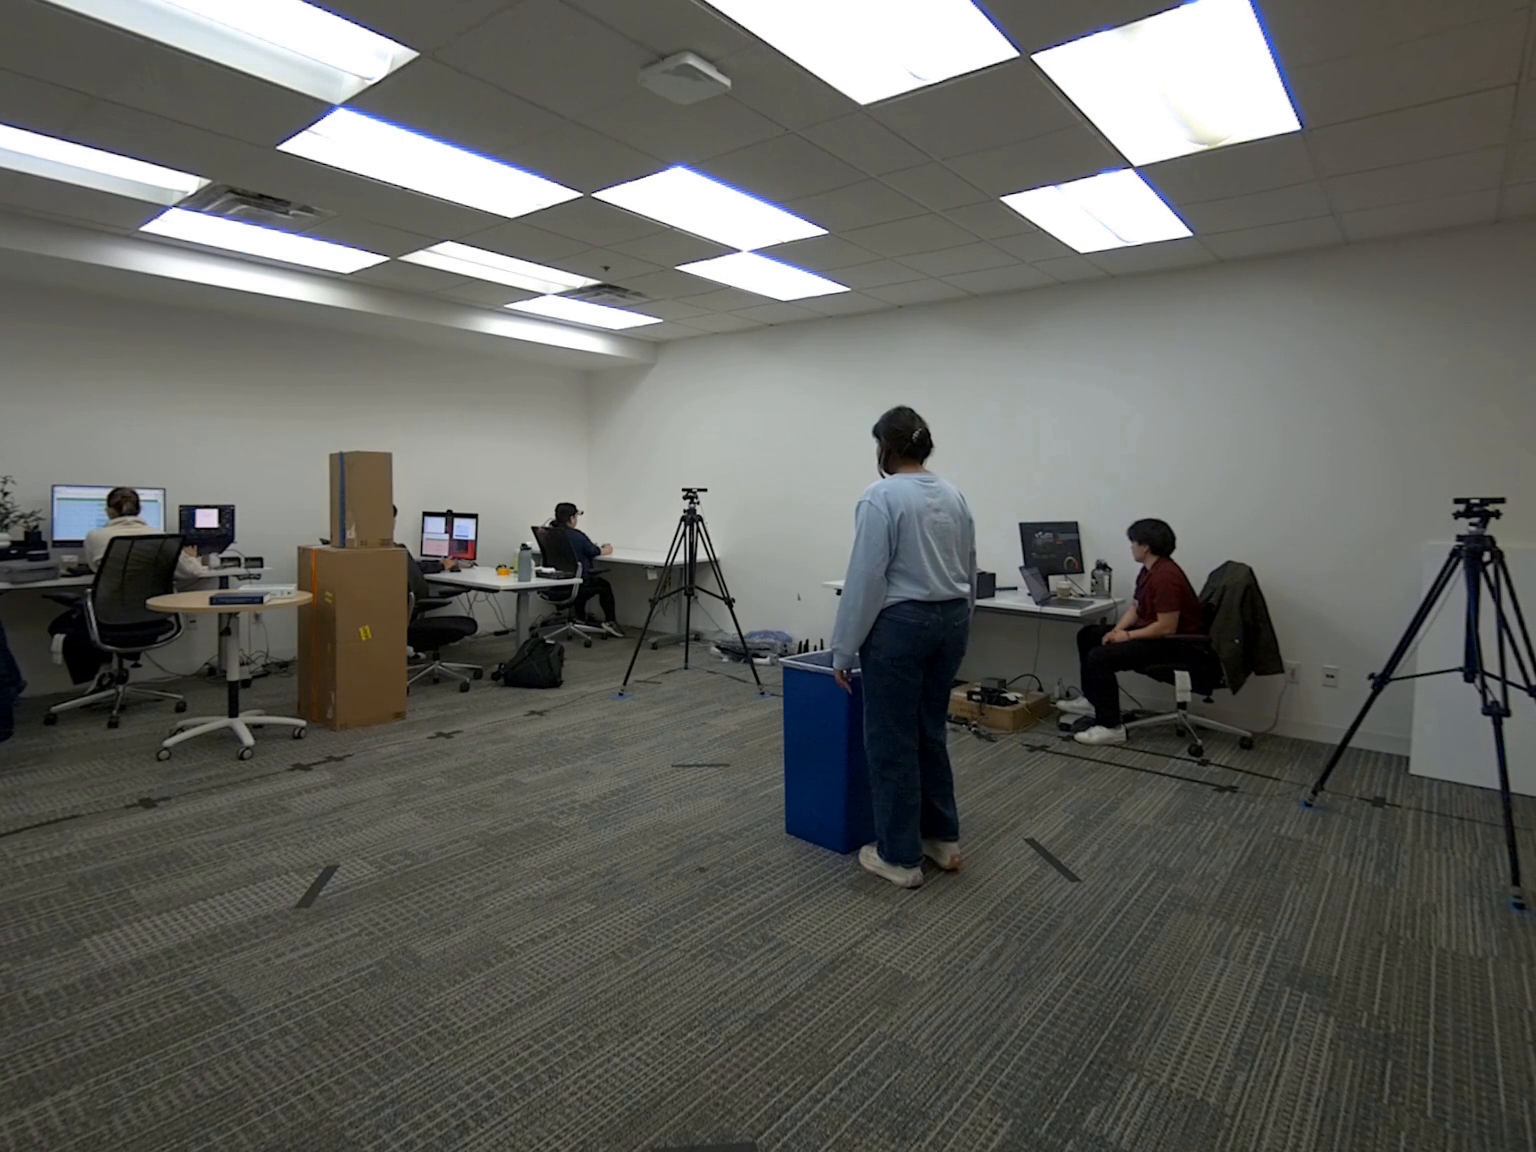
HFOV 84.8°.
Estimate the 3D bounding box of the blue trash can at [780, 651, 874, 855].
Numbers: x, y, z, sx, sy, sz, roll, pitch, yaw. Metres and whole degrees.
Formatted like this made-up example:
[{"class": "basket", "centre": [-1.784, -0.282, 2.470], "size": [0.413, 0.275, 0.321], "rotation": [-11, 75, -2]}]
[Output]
[{"class": "blue trash can", "centre": [0.269, 0.690, 3.454], "size": [0.387, 0.712, 0.366], "rotation": [4, 3, 42]}]
